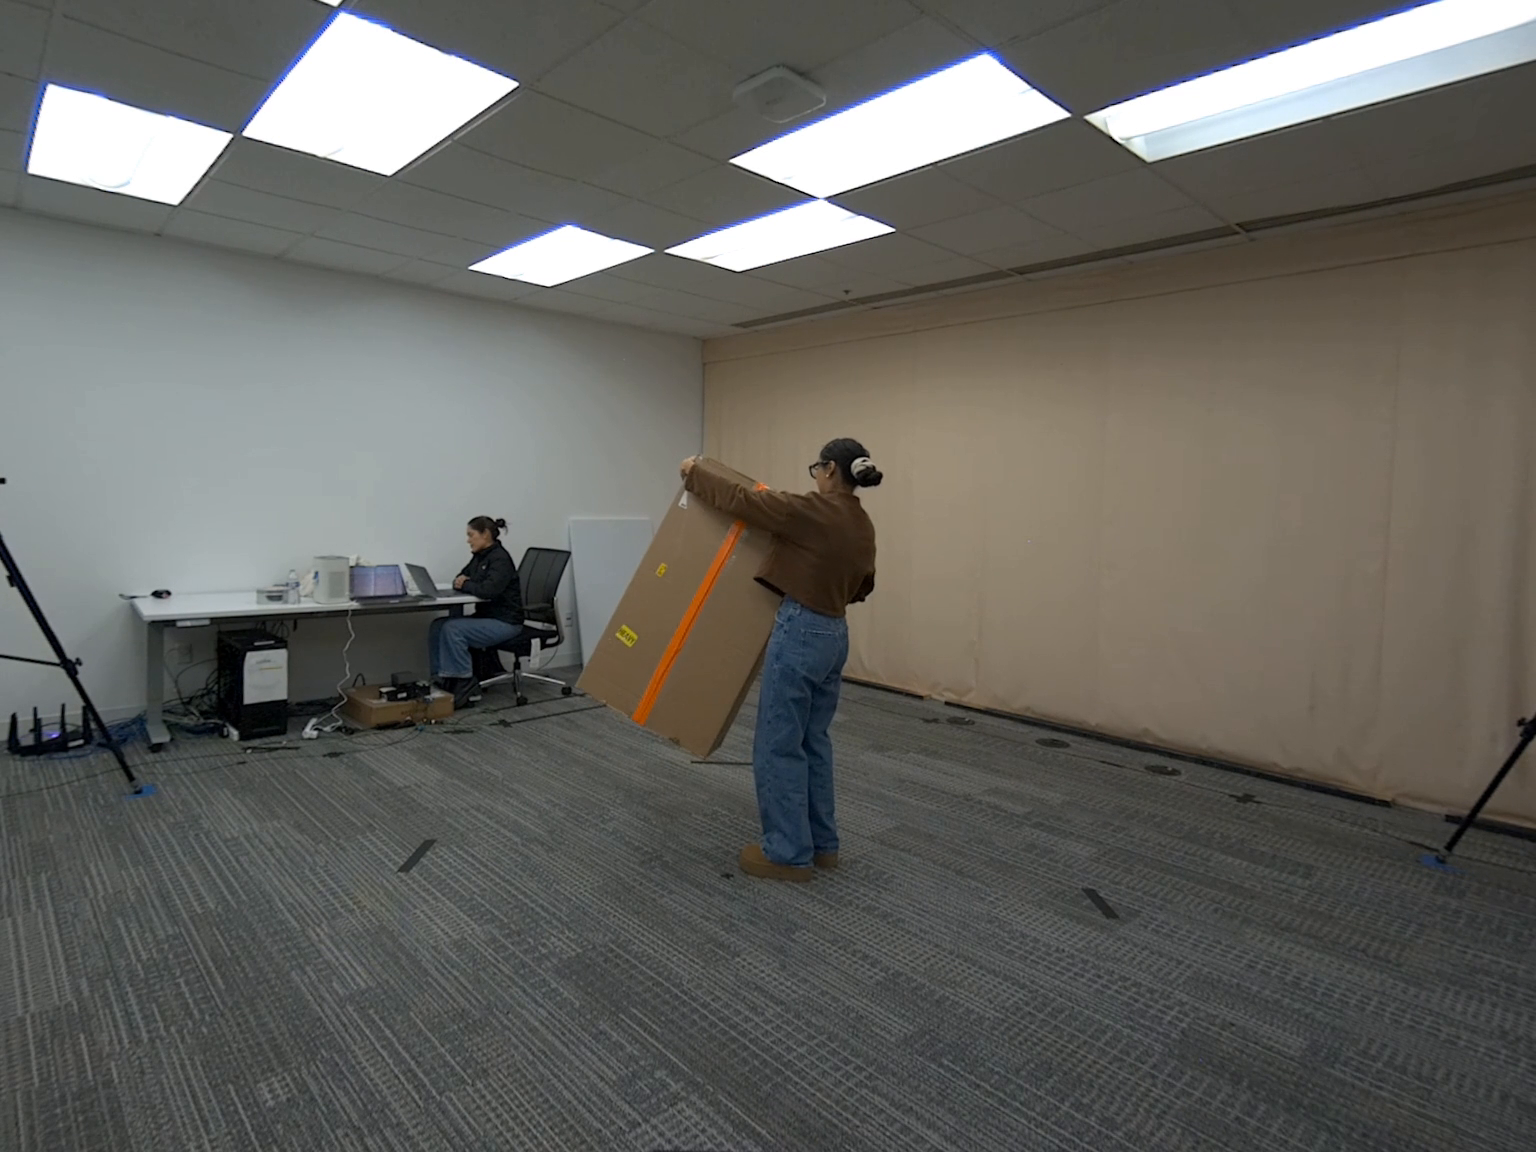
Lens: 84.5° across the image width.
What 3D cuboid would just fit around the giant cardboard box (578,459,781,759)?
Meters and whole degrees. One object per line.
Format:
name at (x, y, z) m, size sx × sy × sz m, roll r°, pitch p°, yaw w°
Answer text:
giant cardboard box at (-0.239, 0.124, 3.394) m, size 0.584 × 1.026 × 0.421 m, roll 27°, pitch -3°, yaw 9°
